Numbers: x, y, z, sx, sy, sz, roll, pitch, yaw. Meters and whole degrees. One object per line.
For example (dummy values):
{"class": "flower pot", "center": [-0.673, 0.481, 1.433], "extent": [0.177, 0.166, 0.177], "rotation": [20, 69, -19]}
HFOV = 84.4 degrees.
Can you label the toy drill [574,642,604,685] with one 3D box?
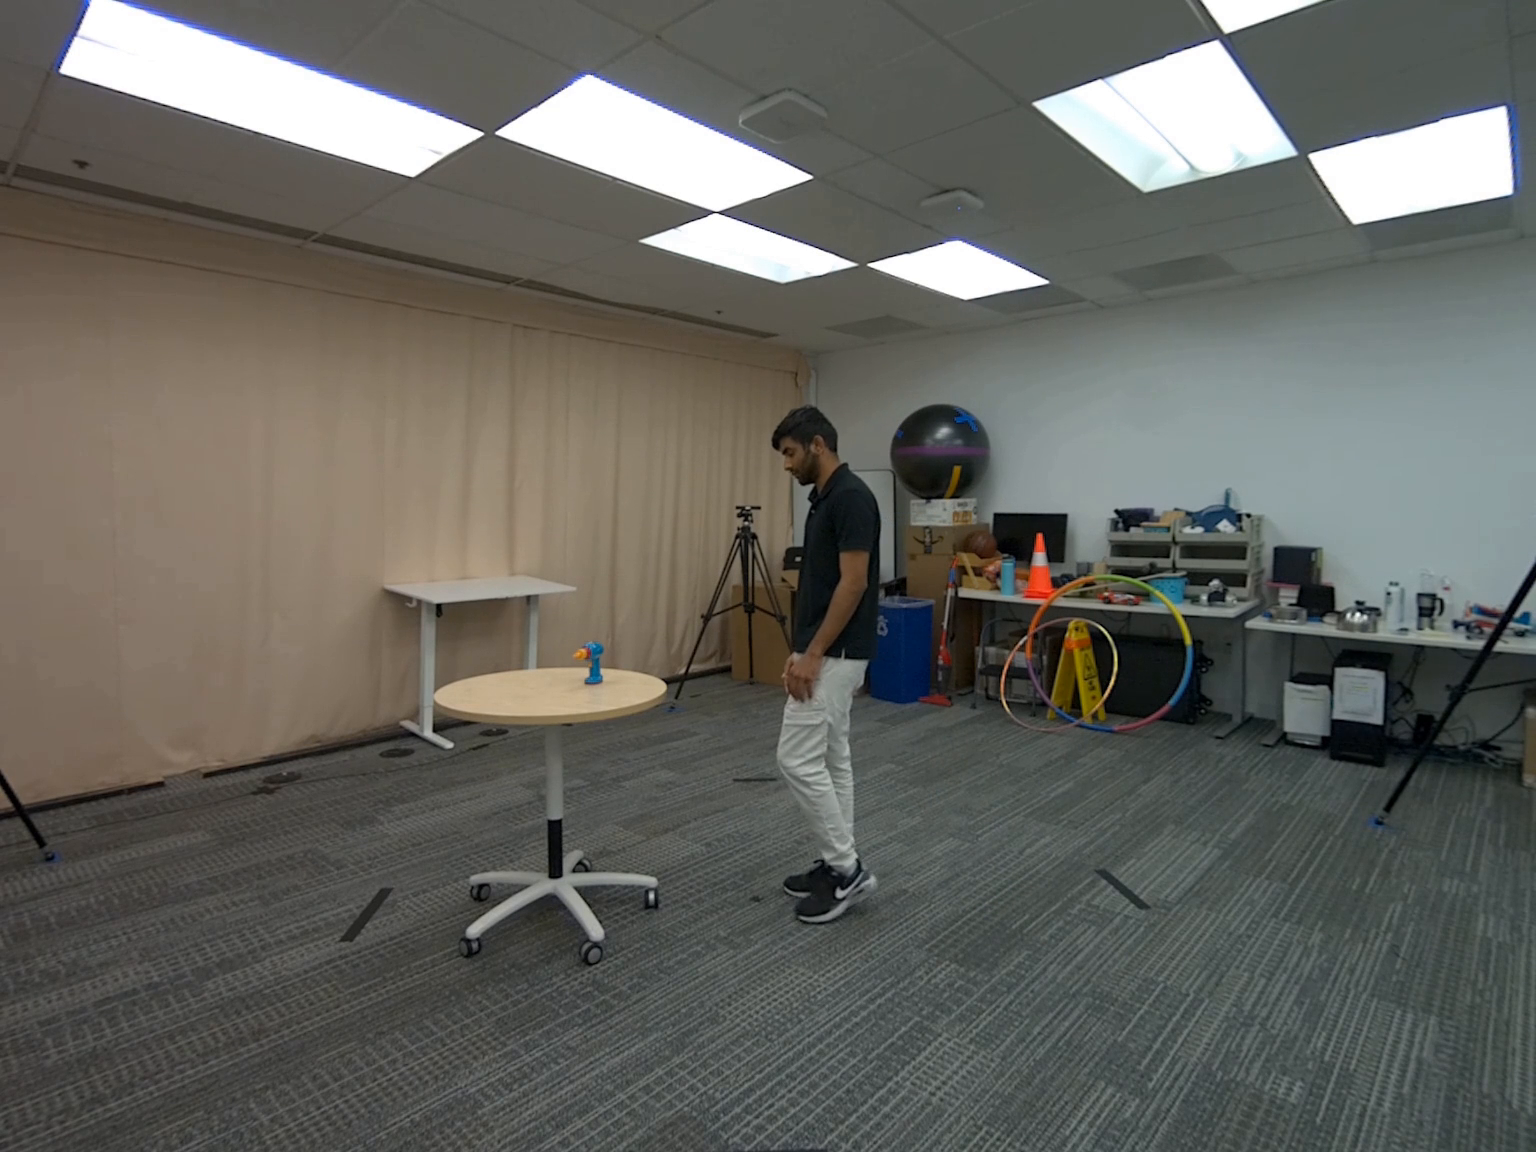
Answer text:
{"class": "toy drill", "center": [-0.617, 0.303, 2.895], "extent": [0.062, 0.146, 0.167], "rotation": [0, 3, 16]}
